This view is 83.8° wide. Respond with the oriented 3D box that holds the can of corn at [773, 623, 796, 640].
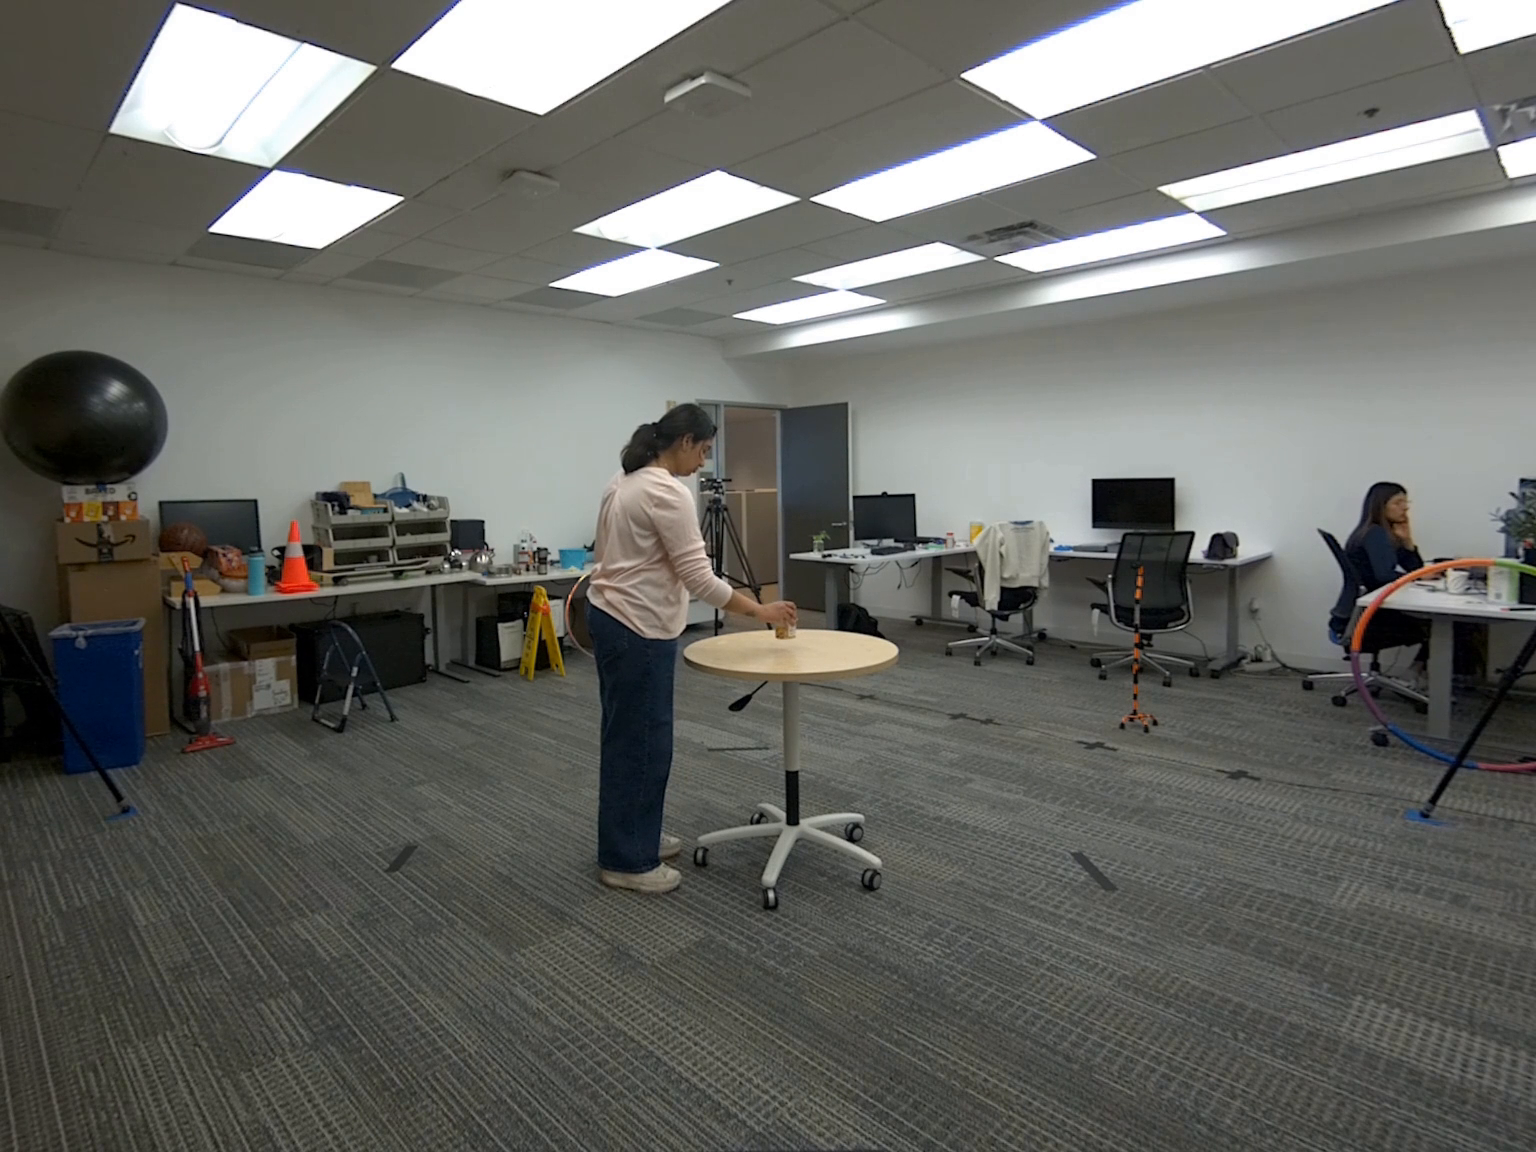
[{"bbox_3d":[0.061,0.162,3.031,0.074,0.111,0.074,-4,3,-1],"label":"can of corn"}]
